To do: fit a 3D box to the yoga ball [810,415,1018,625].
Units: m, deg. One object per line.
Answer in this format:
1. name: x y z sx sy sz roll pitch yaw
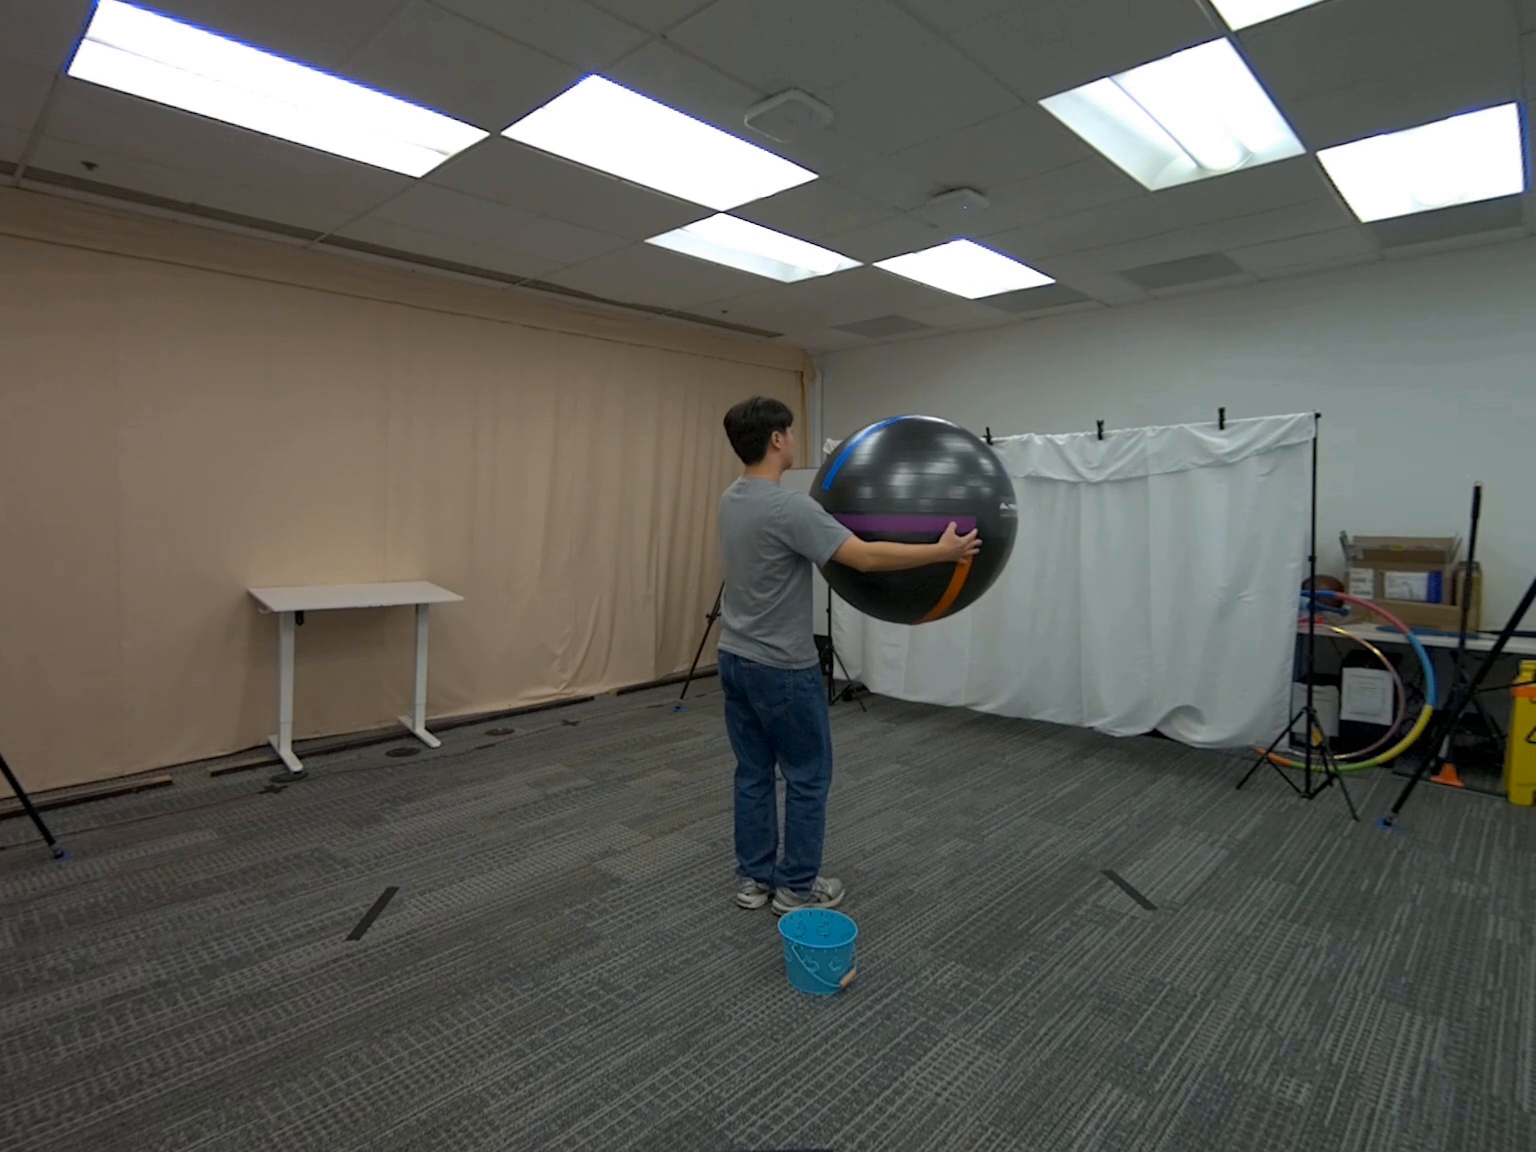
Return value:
1. yoga ball: 0.531 -0.196 3.102 0.757 0.756 0.761 0 4 -2
